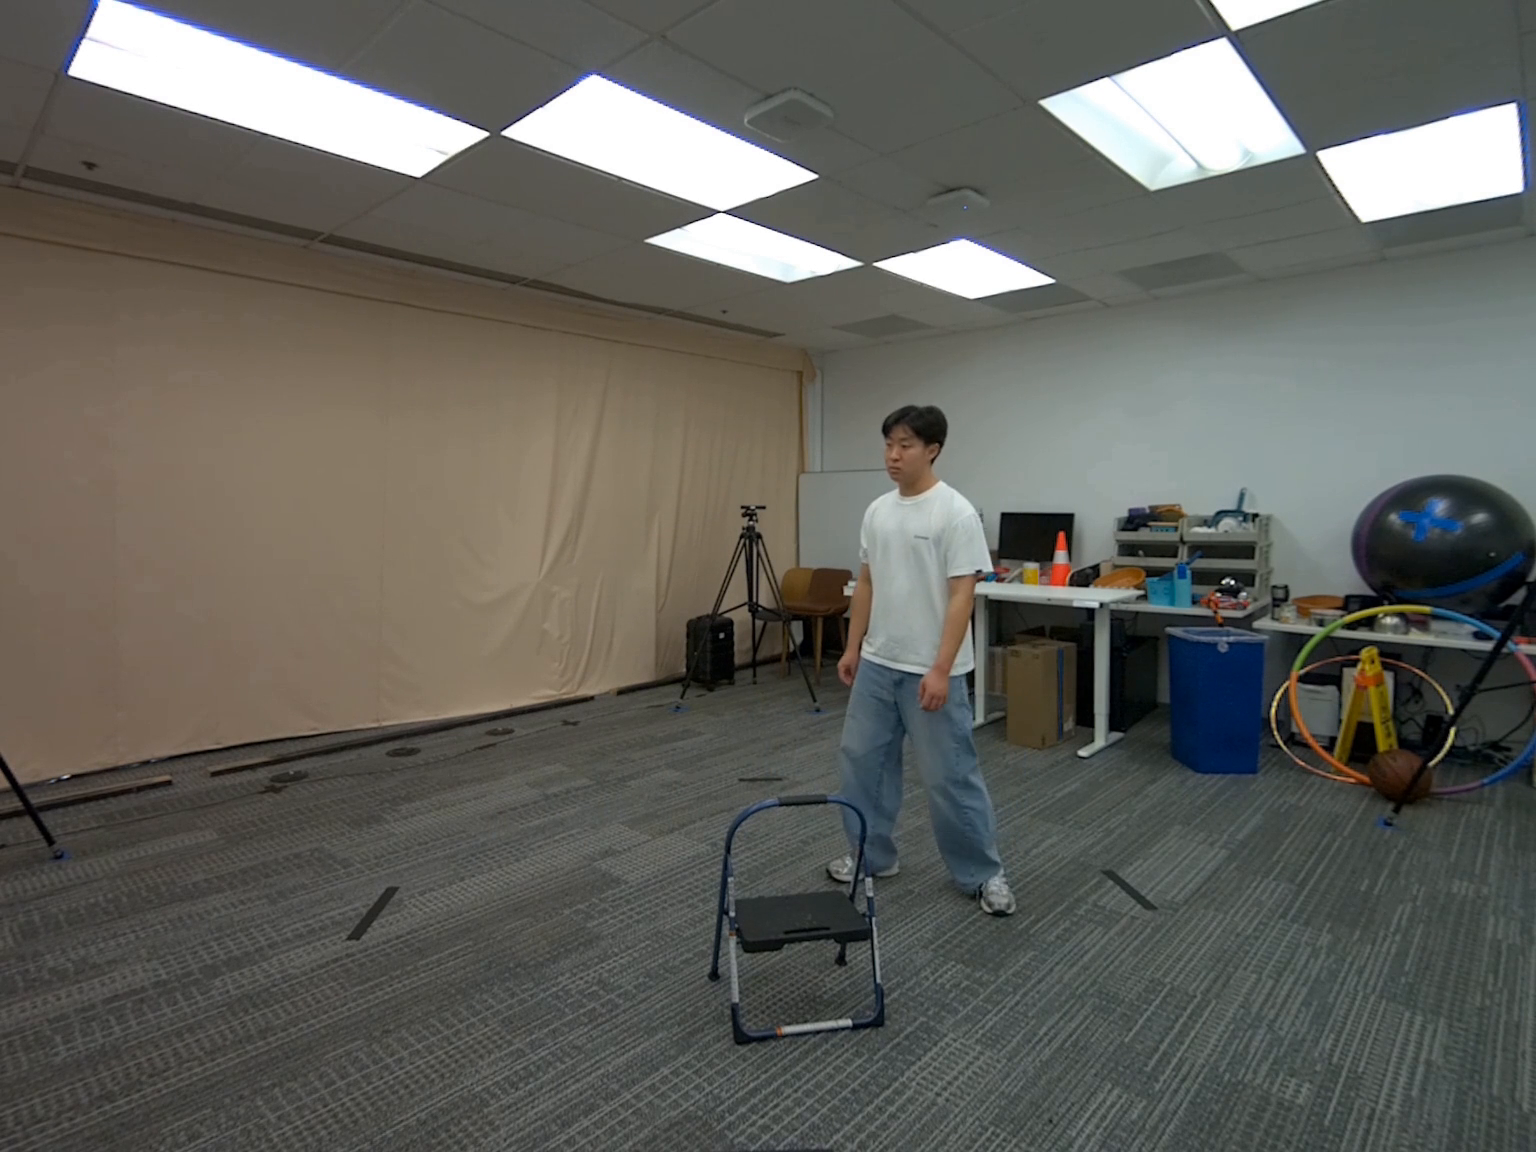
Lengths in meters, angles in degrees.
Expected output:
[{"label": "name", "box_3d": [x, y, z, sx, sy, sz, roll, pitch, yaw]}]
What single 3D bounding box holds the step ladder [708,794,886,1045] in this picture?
[{"label": "step ladder", "box_3d": [0.072, 0.896, 2.360, 0.425, 0.605, 0.355, -1, 3, -13]}]
